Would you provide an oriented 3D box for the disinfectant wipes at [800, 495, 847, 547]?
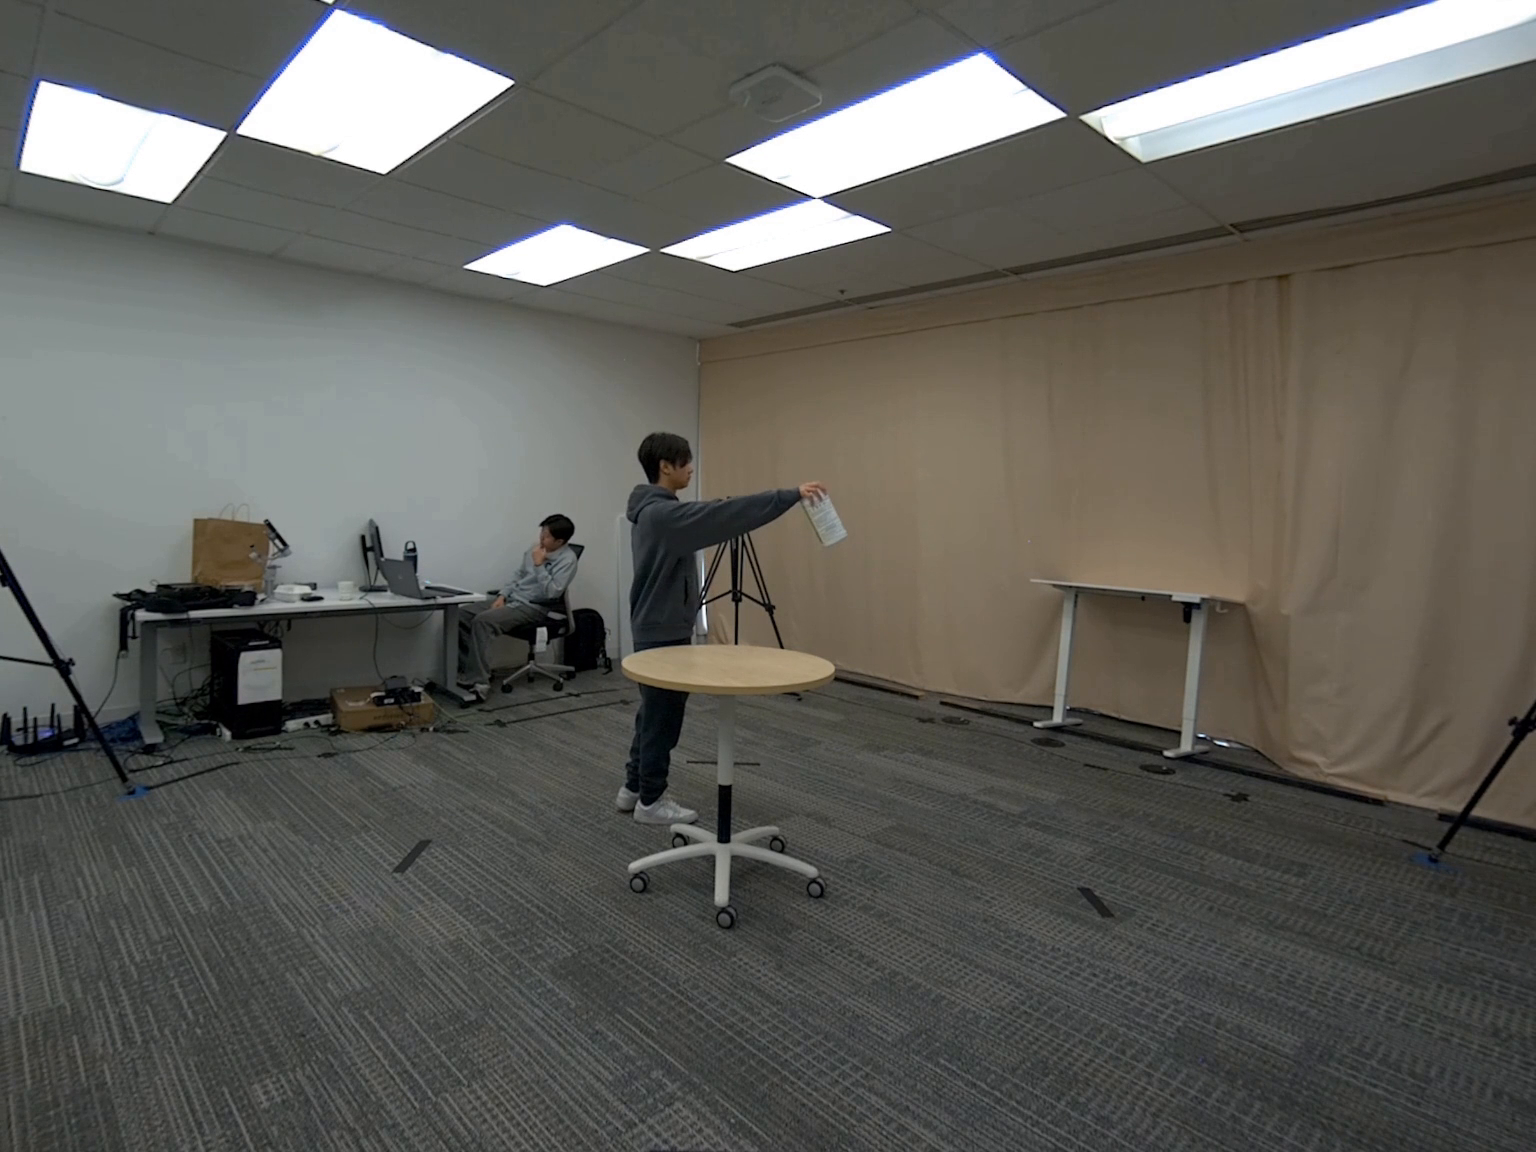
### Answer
[{"bbox_3d":[0.207,-0.225,3.288,0.118,0.216,0.118,-28,4,1],"label":"disinfectant wipes"}]
